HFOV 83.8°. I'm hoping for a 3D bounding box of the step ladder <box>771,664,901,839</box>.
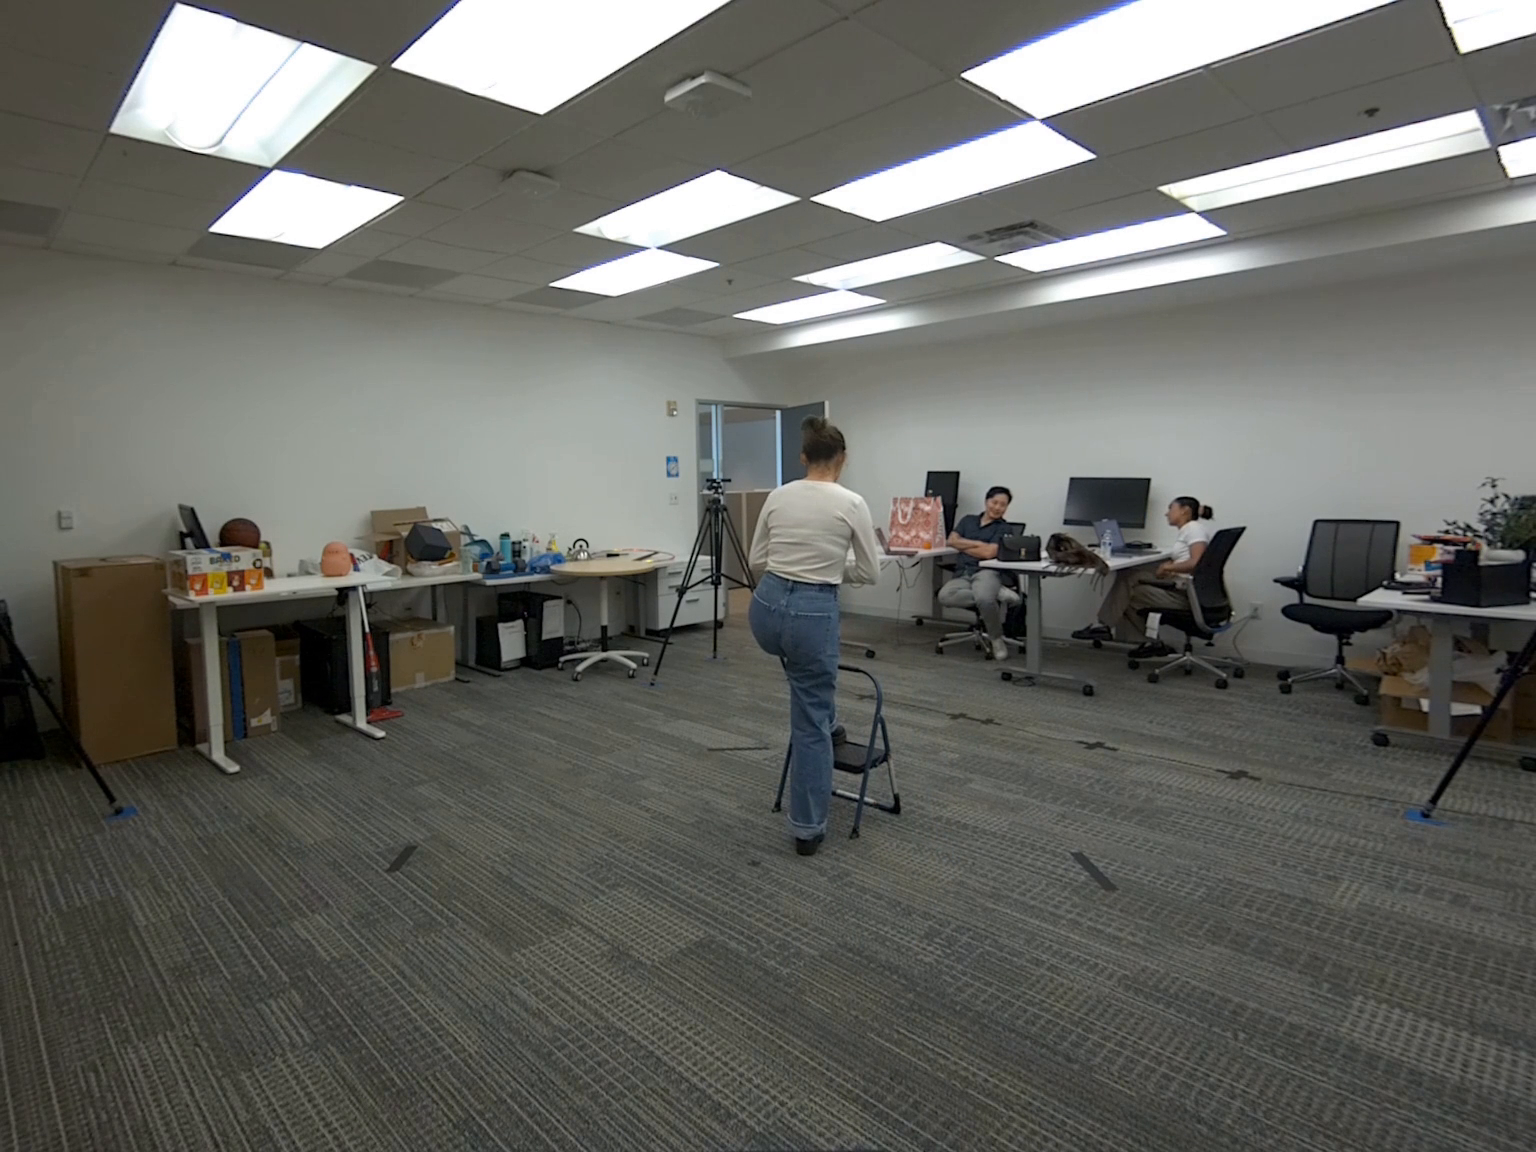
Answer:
[{"bbox_3d":[0.290,0.688,3.554,0.444,0.604,0.340,4,5,42],"label":"step ladder"}]
